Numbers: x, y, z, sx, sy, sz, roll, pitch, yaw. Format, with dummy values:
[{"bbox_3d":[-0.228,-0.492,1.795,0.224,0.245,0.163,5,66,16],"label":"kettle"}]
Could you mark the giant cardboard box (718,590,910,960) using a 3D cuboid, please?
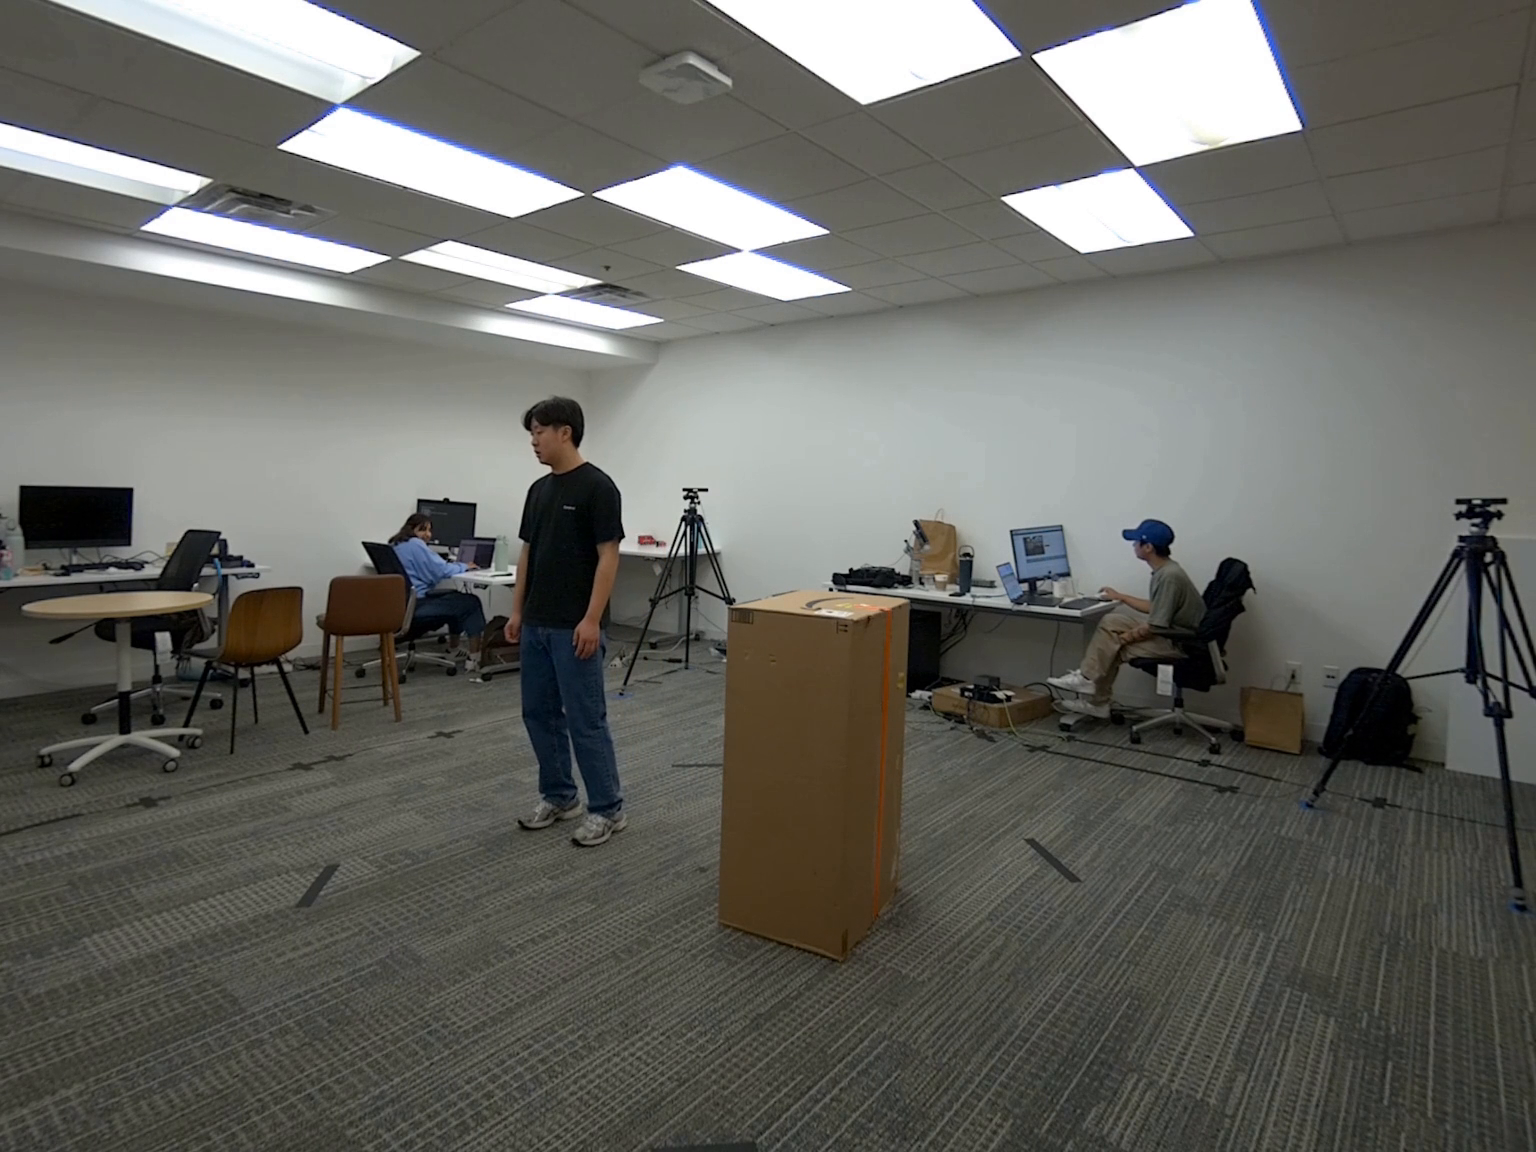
[{"bbox_3d":[0.162,0.592,2.836,0.460,1.024,0.569,4,4,28],"label":"giant cardboard box"}]
